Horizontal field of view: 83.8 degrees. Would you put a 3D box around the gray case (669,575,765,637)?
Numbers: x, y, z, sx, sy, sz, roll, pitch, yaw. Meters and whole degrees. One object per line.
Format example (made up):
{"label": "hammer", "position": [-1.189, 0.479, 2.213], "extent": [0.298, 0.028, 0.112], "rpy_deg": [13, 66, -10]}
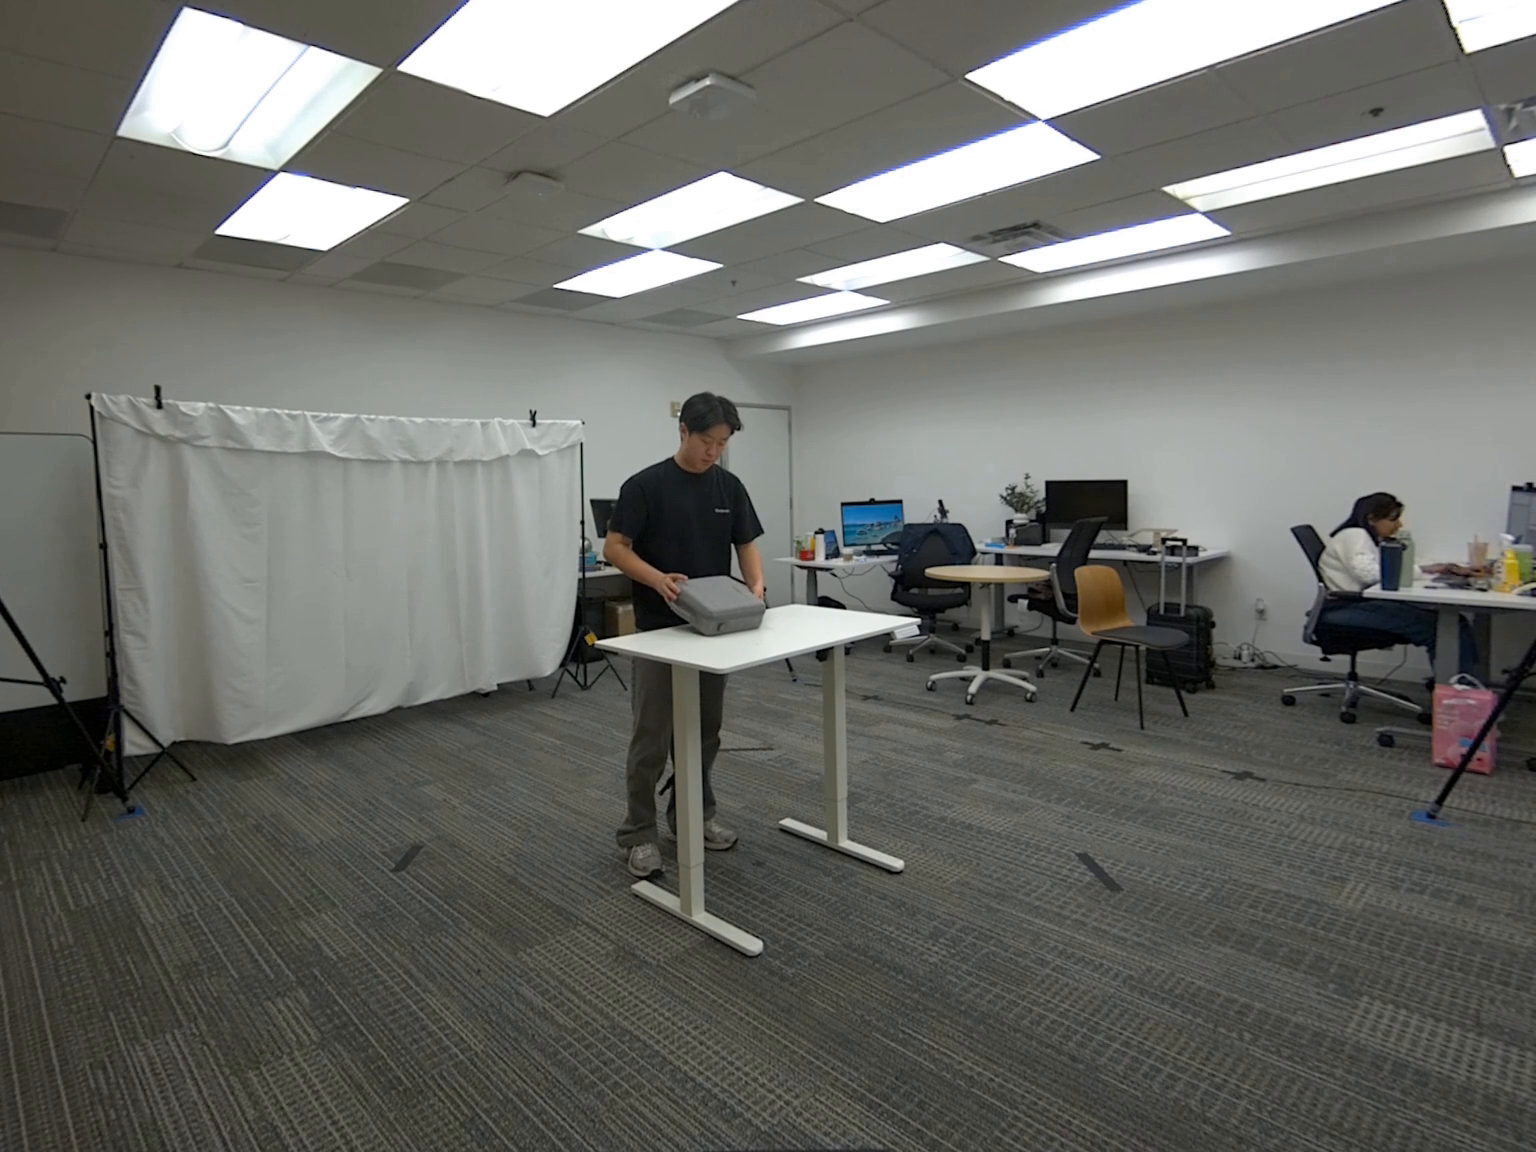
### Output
{"label": "gray case", "position": [-0.175, 0.103, 2.950], "extent": [0.254, 0.103, 0.267], "rpy_deg": [-6, 28, -37]}
